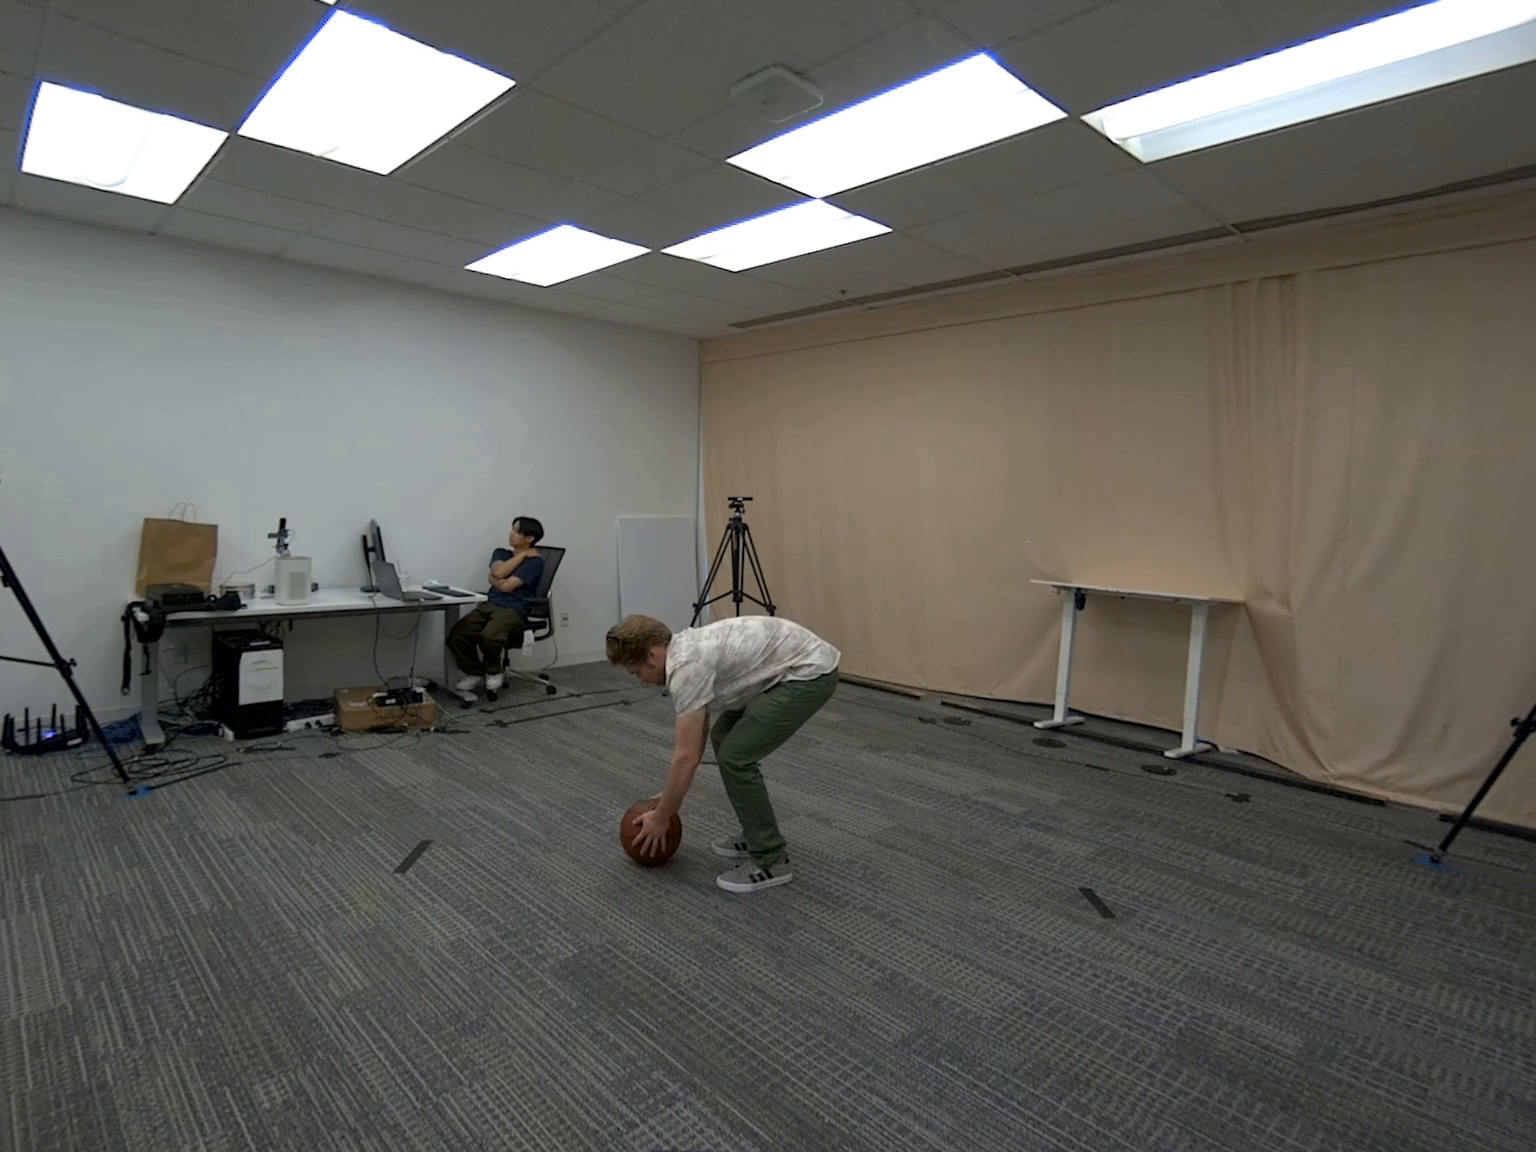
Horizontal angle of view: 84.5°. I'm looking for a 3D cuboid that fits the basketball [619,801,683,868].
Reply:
[{"bbox_3d":[-0.456,0.958,3.202,0.236,0.235,0.237,1,4,-1],"label":"basketball"}]
